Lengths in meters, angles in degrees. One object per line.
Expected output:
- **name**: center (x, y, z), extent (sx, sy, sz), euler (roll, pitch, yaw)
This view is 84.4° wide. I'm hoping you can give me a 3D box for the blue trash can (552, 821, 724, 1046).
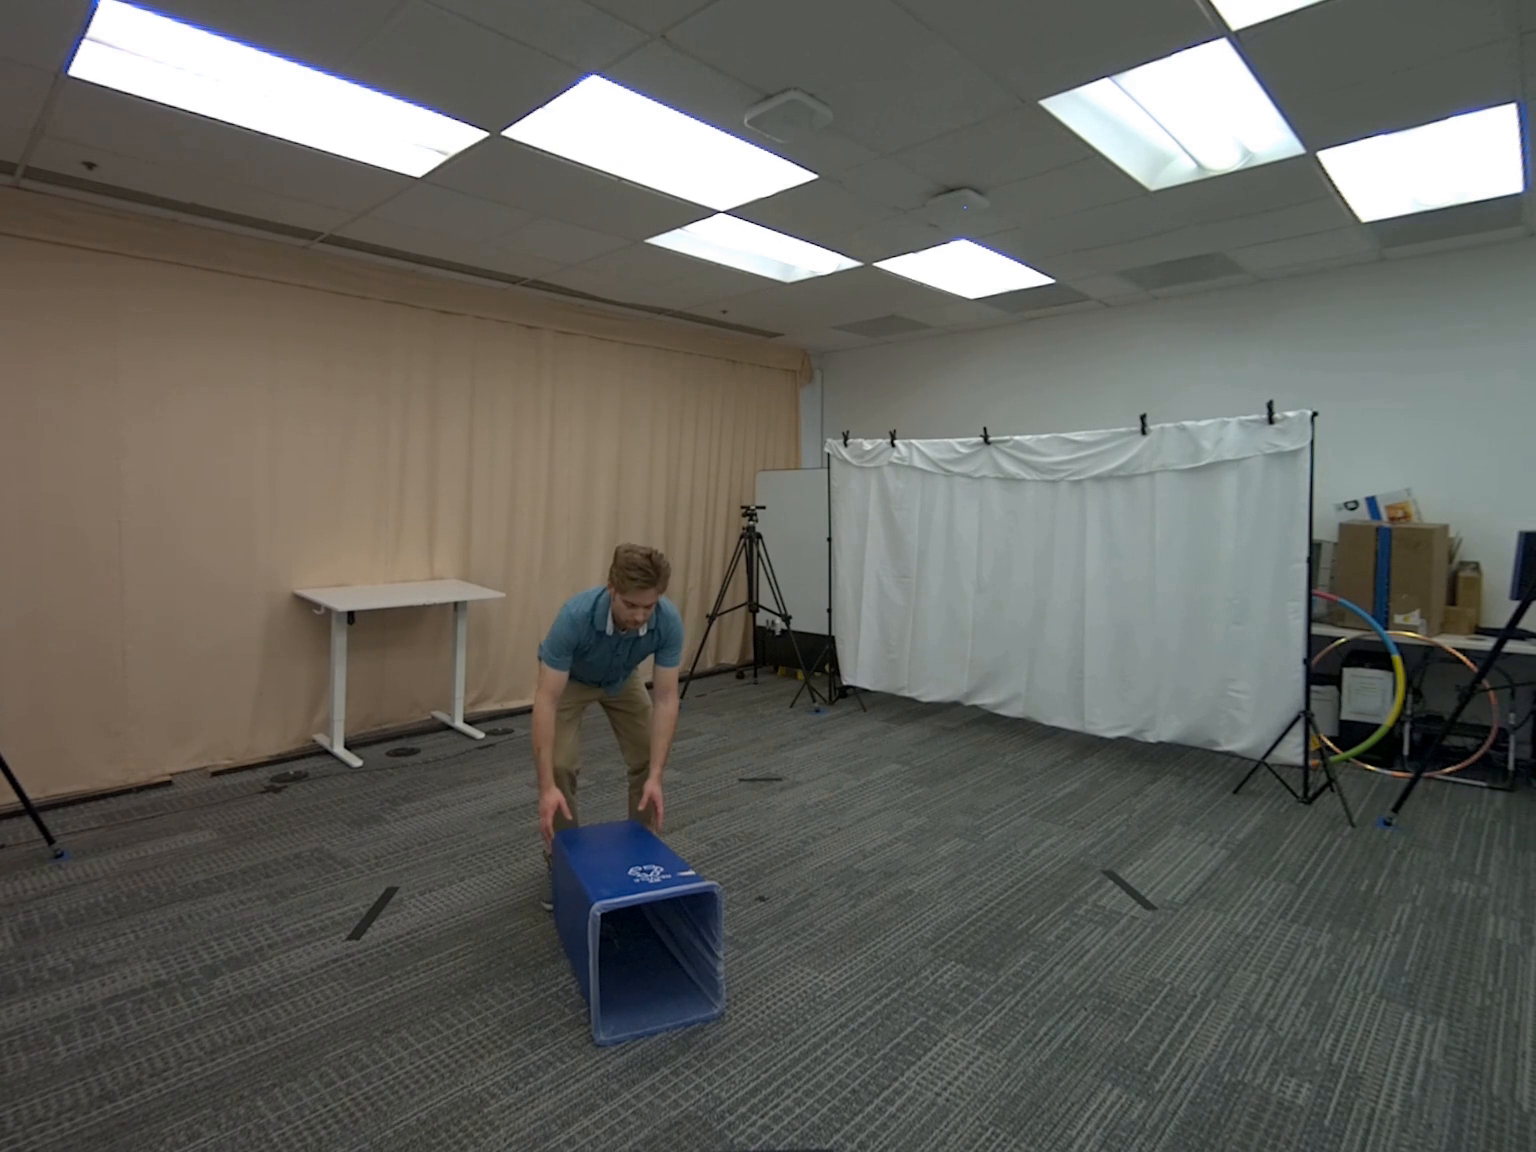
- **blue trash can**: center (-0.436, 1.017, 2.547), extent (0.365, 0.378, 0.731), euler (-2, 1, -25)
